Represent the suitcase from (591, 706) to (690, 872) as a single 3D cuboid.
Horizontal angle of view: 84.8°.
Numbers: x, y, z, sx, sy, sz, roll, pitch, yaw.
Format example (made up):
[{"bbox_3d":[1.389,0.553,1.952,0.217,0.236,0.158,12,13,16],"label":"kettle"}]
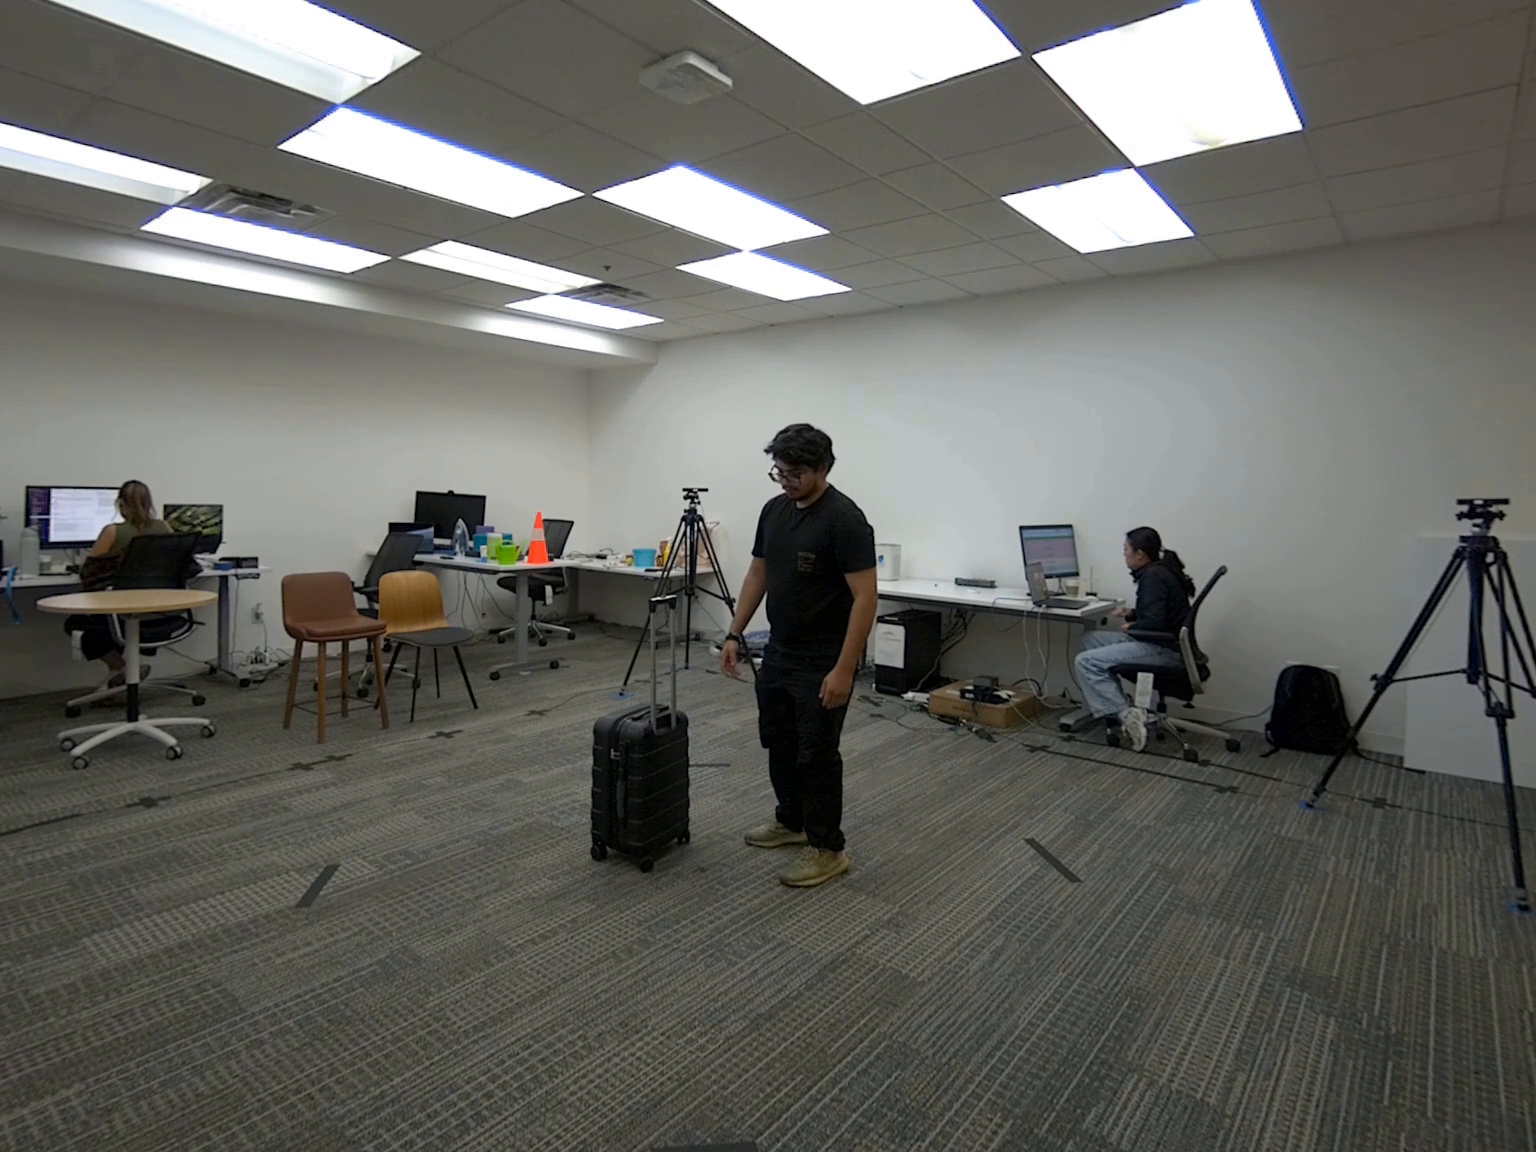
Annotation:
[{"bbox_3d":[-0.507,0.576,3.252,0.264,0.977,0.374,-1,2,29],"label":"suitcase"}]
